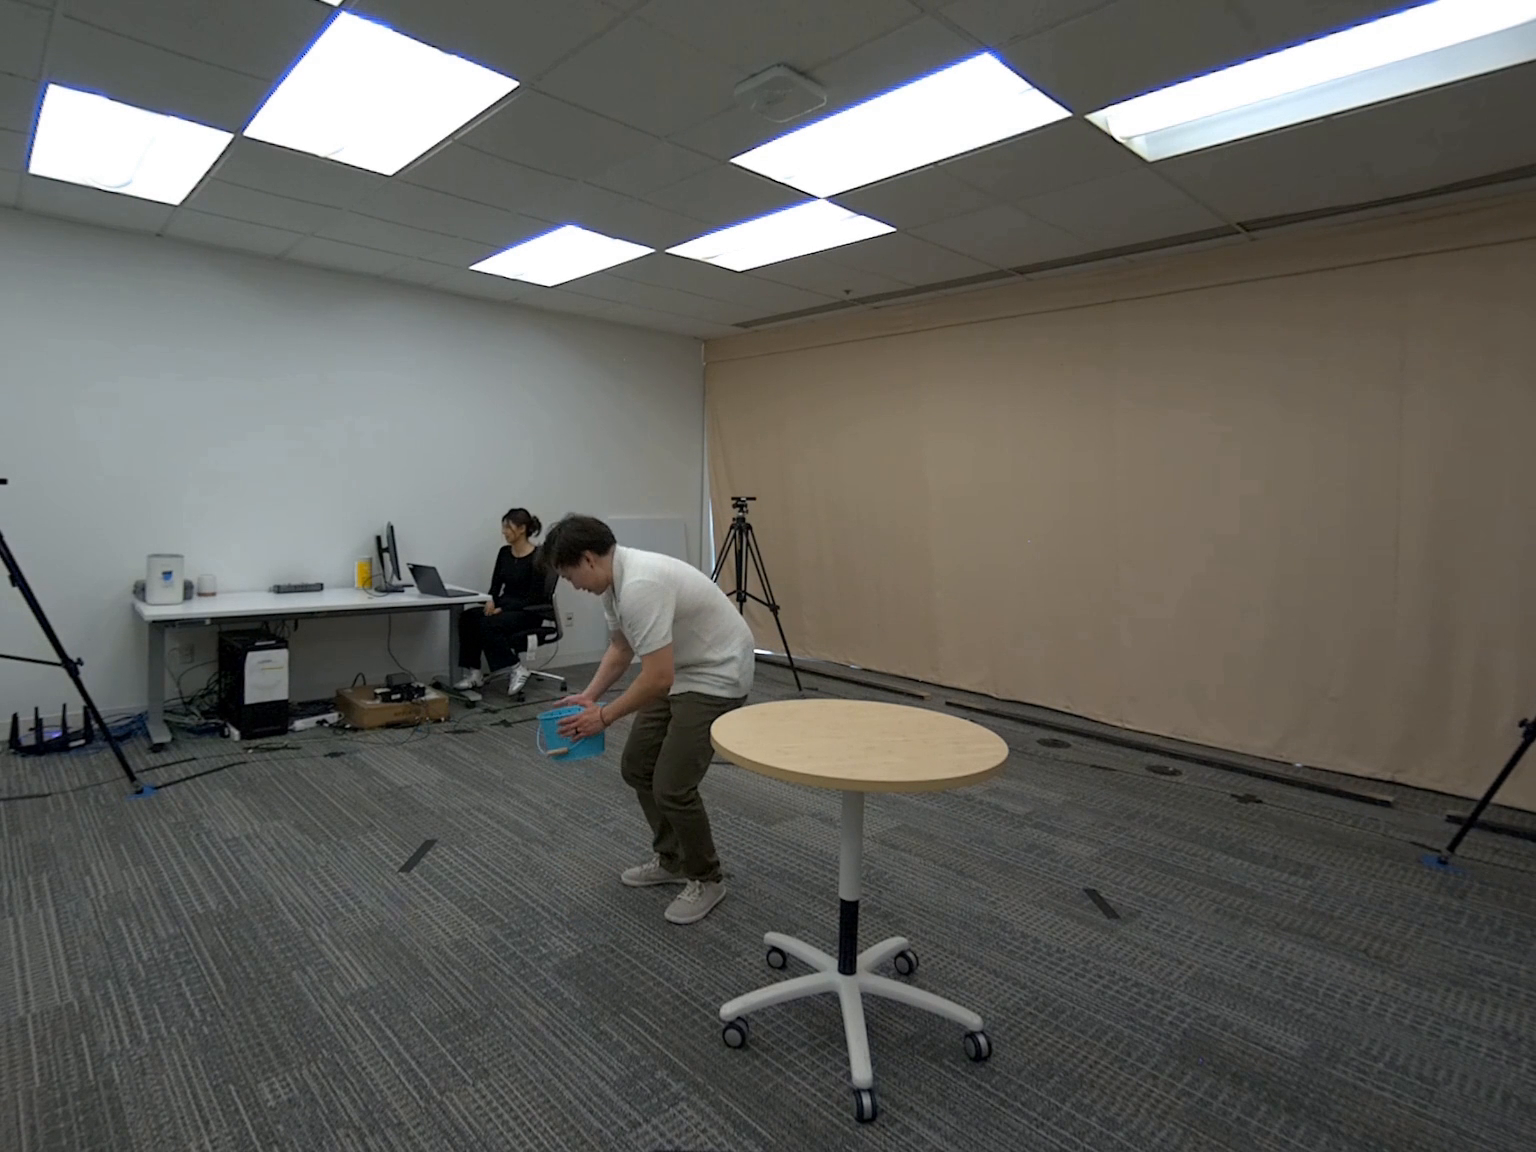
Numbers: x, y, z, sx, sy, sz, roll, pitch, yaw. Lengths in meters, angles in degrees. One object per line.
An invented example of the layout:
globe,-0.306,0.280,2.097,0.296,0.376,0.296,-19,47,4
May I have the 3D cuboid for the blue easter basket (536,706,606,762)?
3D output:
blue easter basket,-0.650,0.525,2.810,0.243,0.156,0.243,-8,-2,-2
